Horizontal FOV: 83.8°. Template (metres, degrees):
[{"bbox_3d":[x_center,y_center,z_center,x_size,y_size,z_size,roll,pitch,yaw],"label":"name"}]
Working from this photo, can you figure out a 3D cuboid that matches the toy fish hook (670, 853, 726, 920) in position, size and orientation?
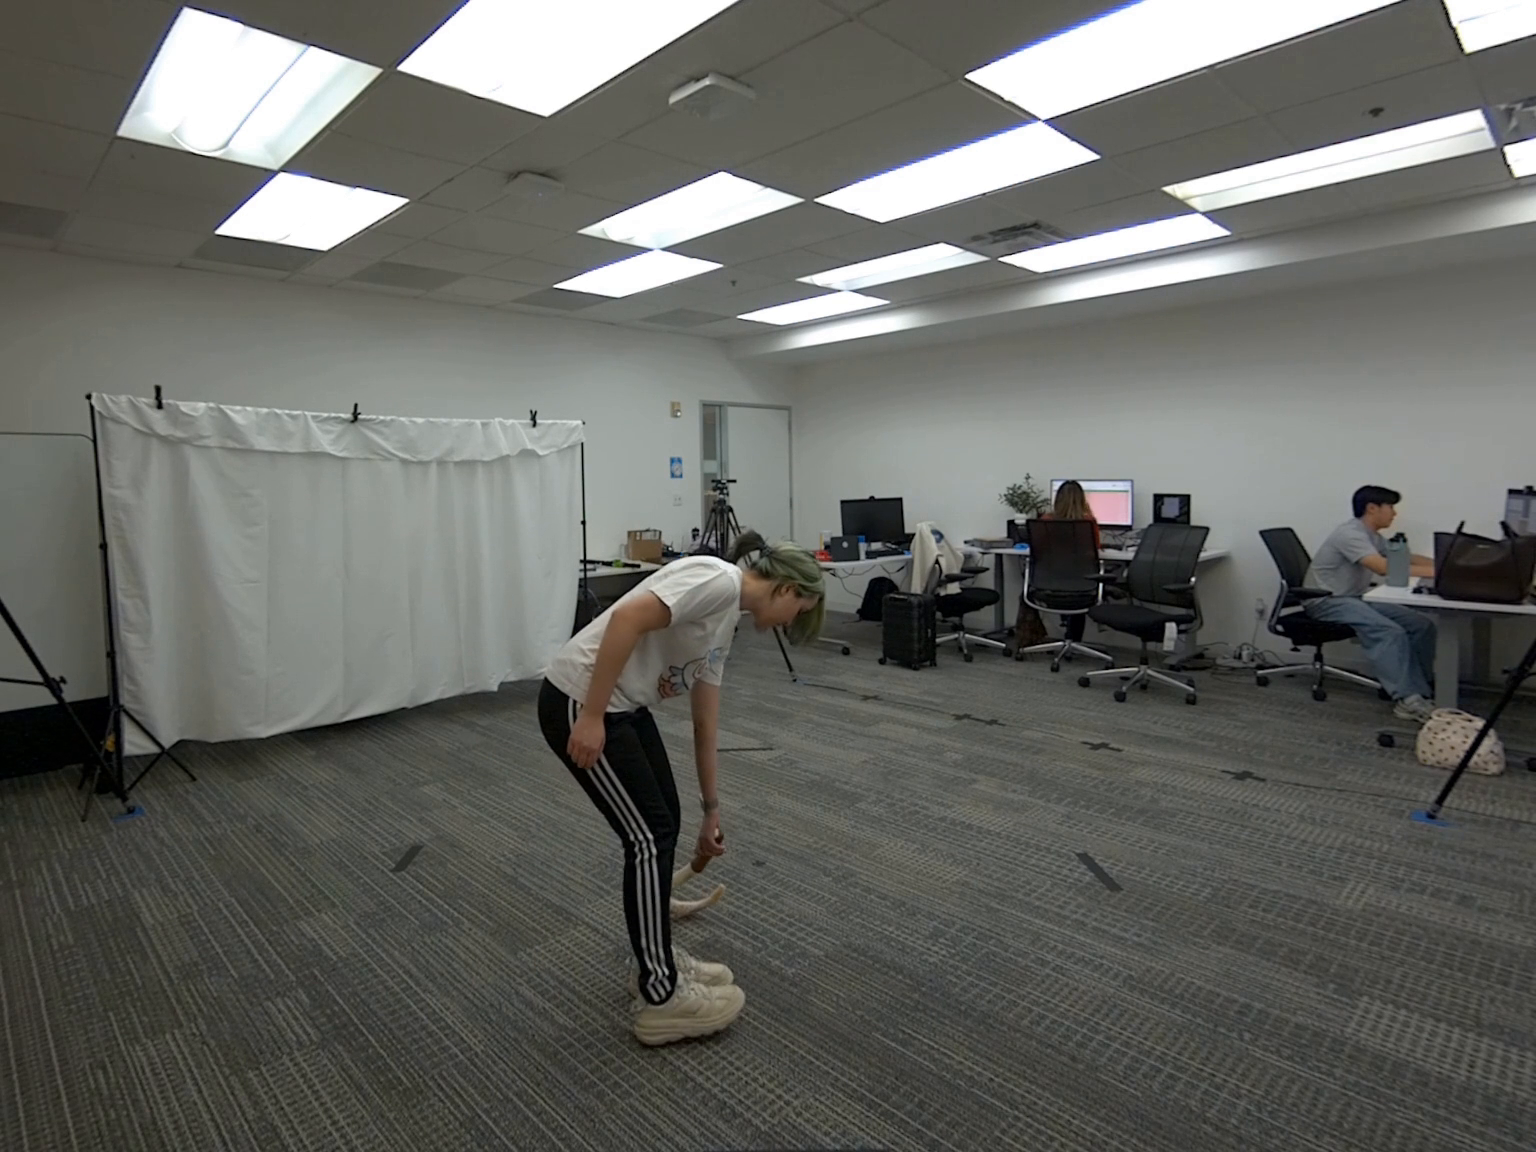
[{"bbox_3d":[-0.190,0.915,2.592,0.219,0.050,0.502,9,-47,-25],"label":"toy fish hook"}]
